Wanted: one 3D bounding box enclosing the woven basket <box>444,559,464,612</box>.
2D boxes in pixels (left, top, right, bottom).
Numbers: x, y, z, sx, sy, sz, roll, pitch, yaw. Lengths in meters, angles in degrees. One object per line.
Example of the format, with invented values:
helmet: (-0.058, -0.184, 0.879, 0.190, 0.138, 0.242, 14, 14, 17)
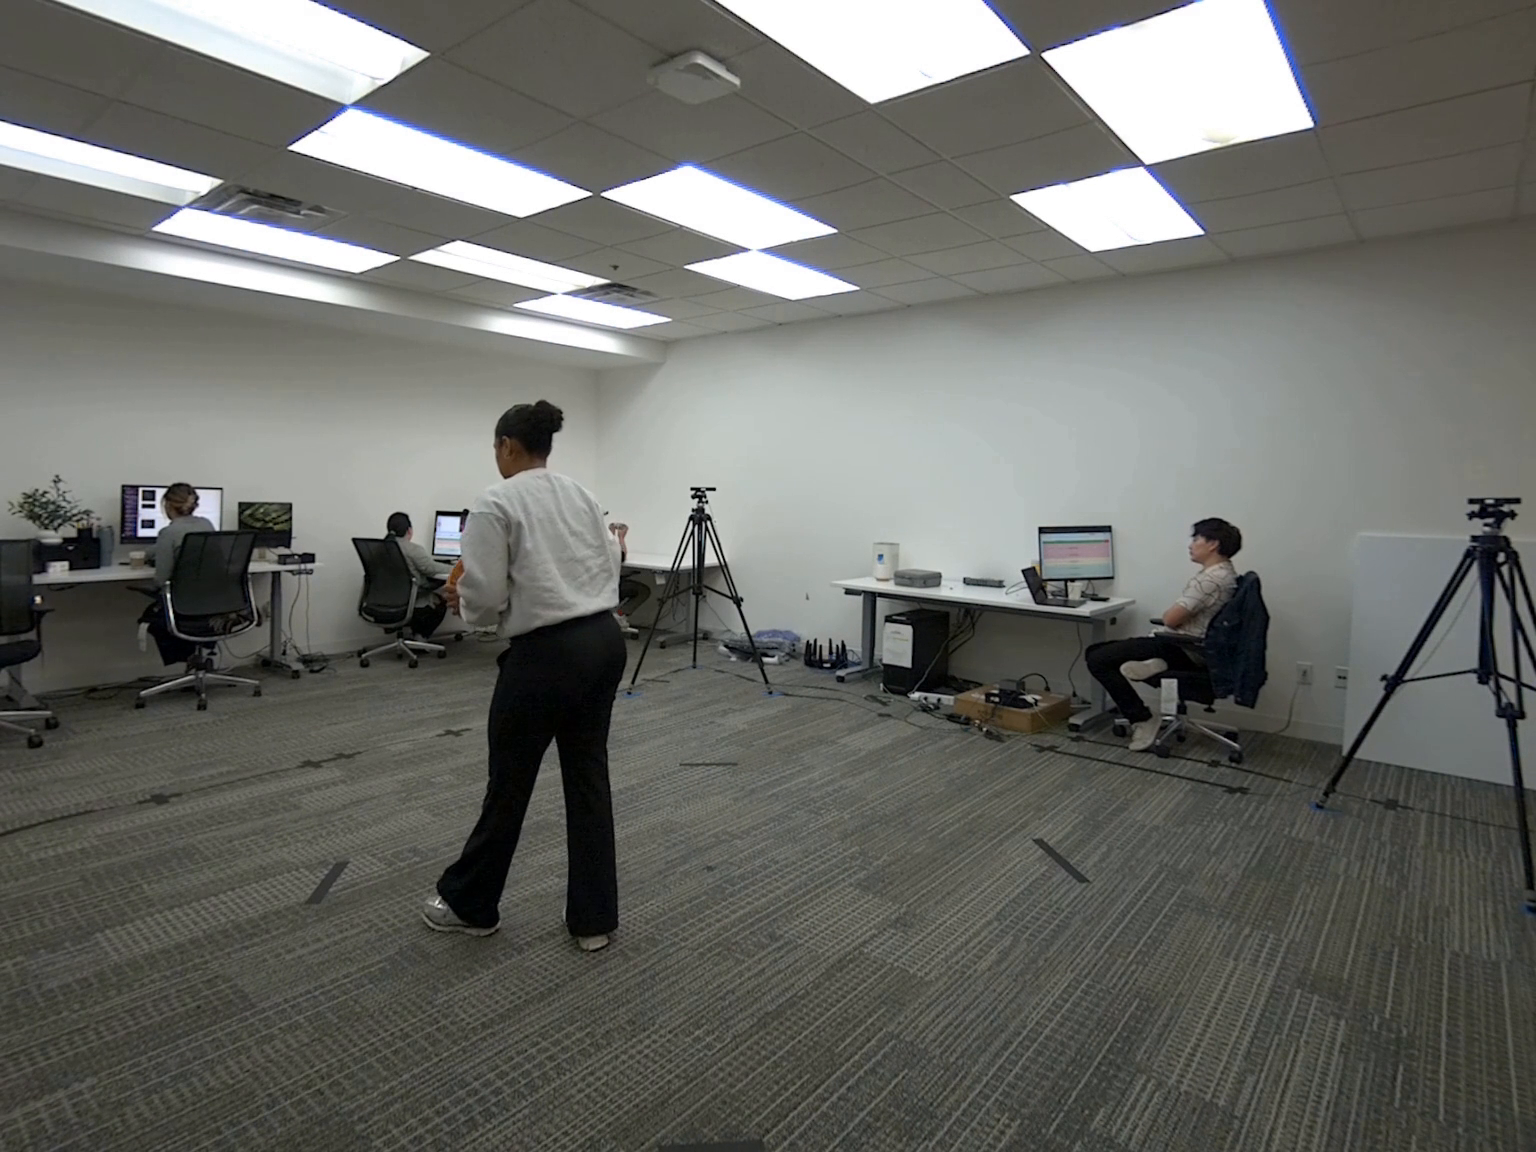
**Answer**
woven basket: (-0.933, 0.025, 2.815, 0.076, 0.249, 0.344, -2, 15, 38)
